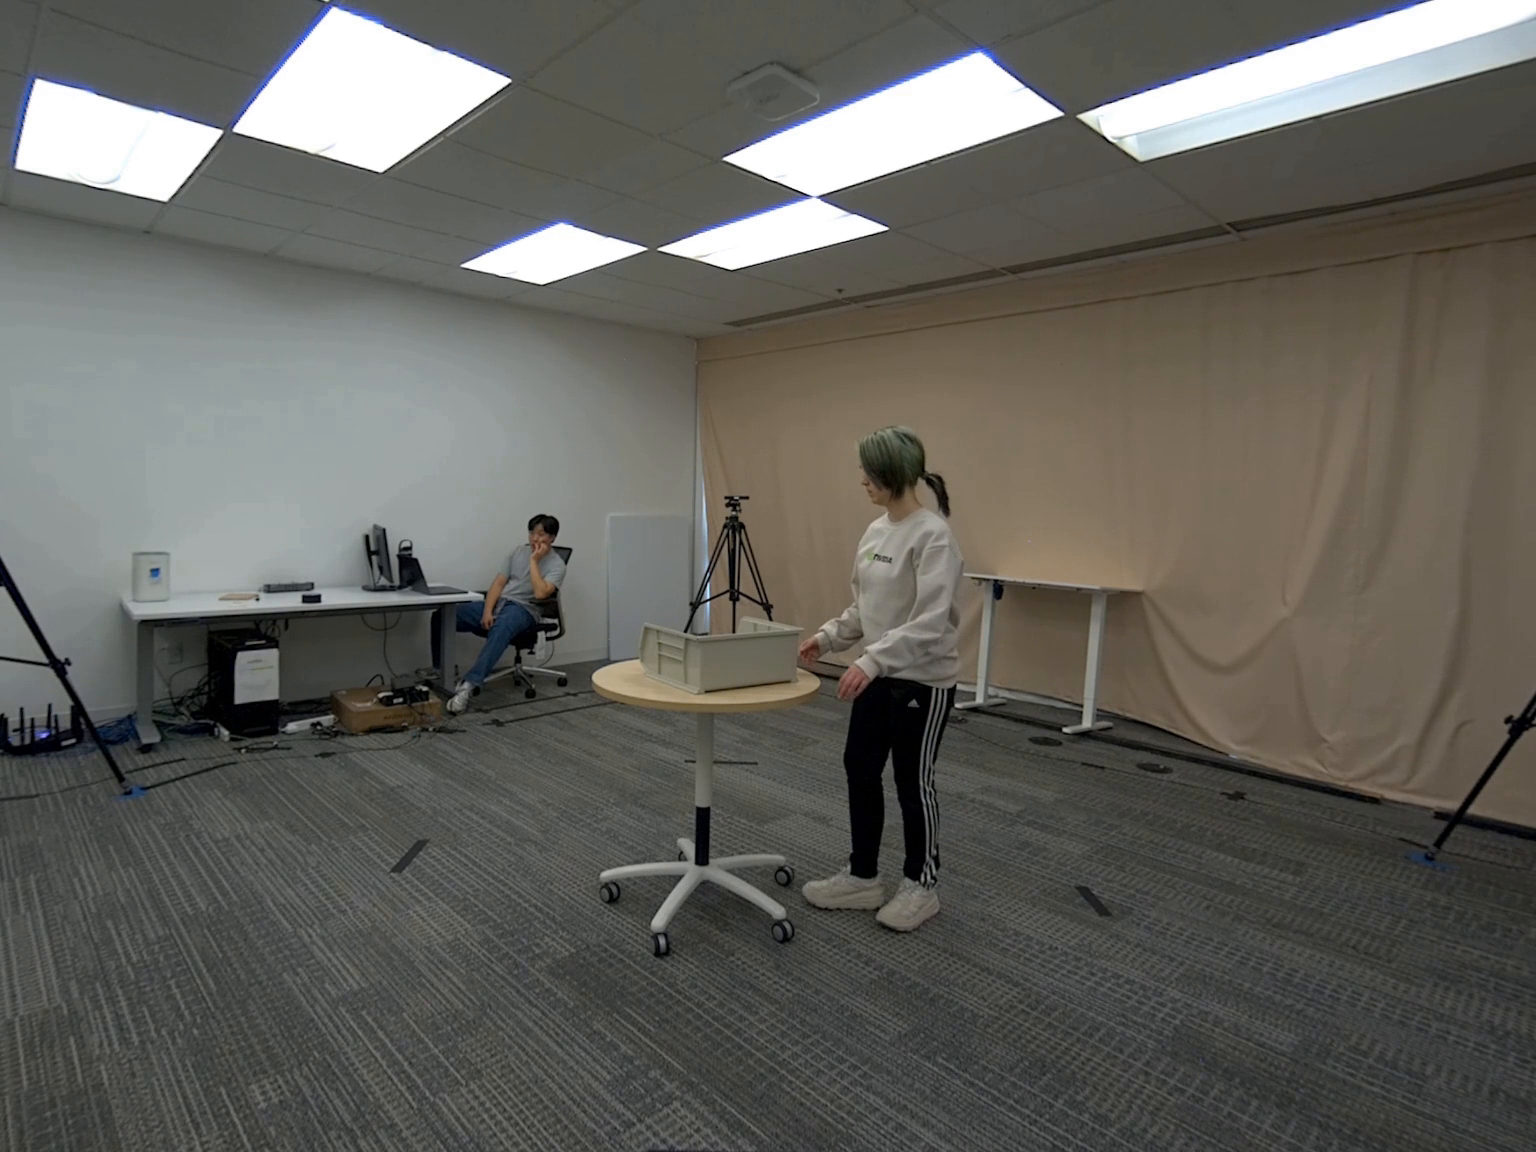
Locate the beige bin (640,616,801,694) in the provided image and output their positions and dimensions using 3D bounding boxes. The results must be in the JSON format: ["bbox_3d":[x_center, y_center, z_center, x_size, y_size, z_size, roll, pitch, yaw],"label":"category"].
[{"bbox_3d":[-0.165,0.256,2.829,0.413,0.188,0.387,-1,6,-37],"label":"beige bin"}]
